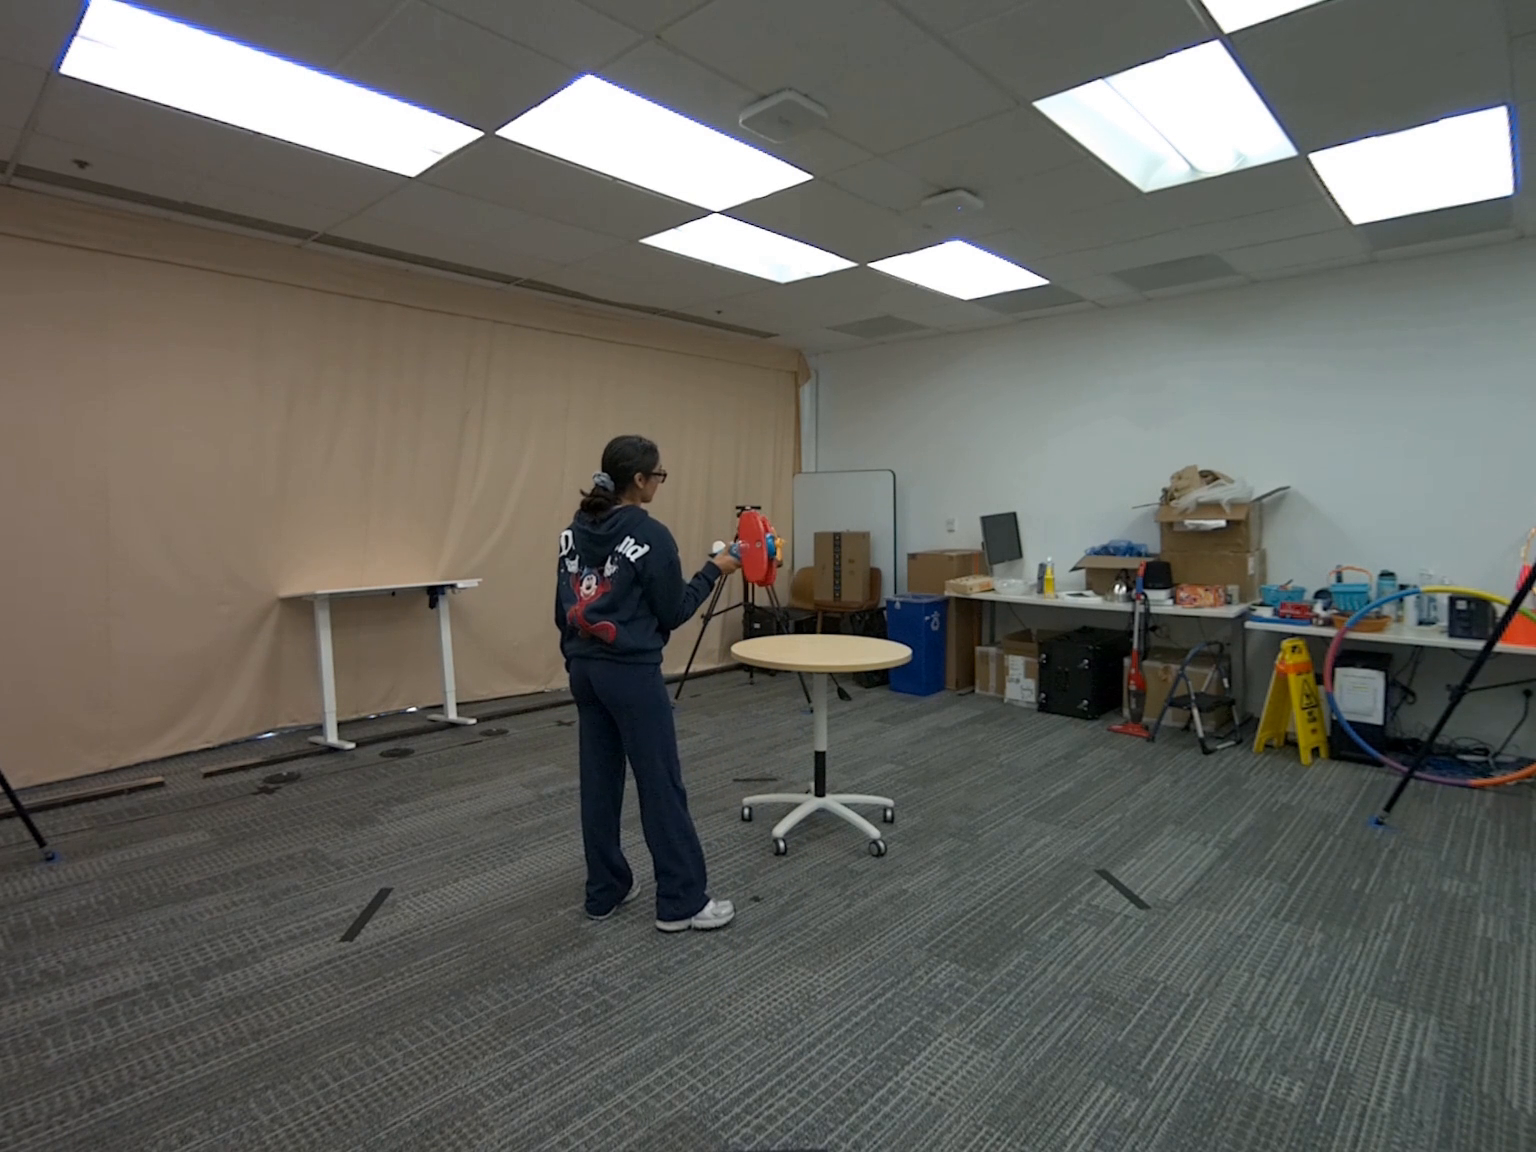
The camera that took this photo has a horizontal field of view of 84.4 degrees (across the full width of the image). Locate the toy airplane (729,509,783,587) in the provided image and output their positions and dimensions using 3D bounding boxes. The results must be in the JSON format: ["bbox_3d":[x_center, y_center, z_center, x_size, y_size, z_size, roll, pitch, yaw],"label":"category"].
[{"bbox_3d":[-0.057,-0.068,2.924,0.259,0.256,0.153,-37,-19,2],"label":"toy airplane"}]
